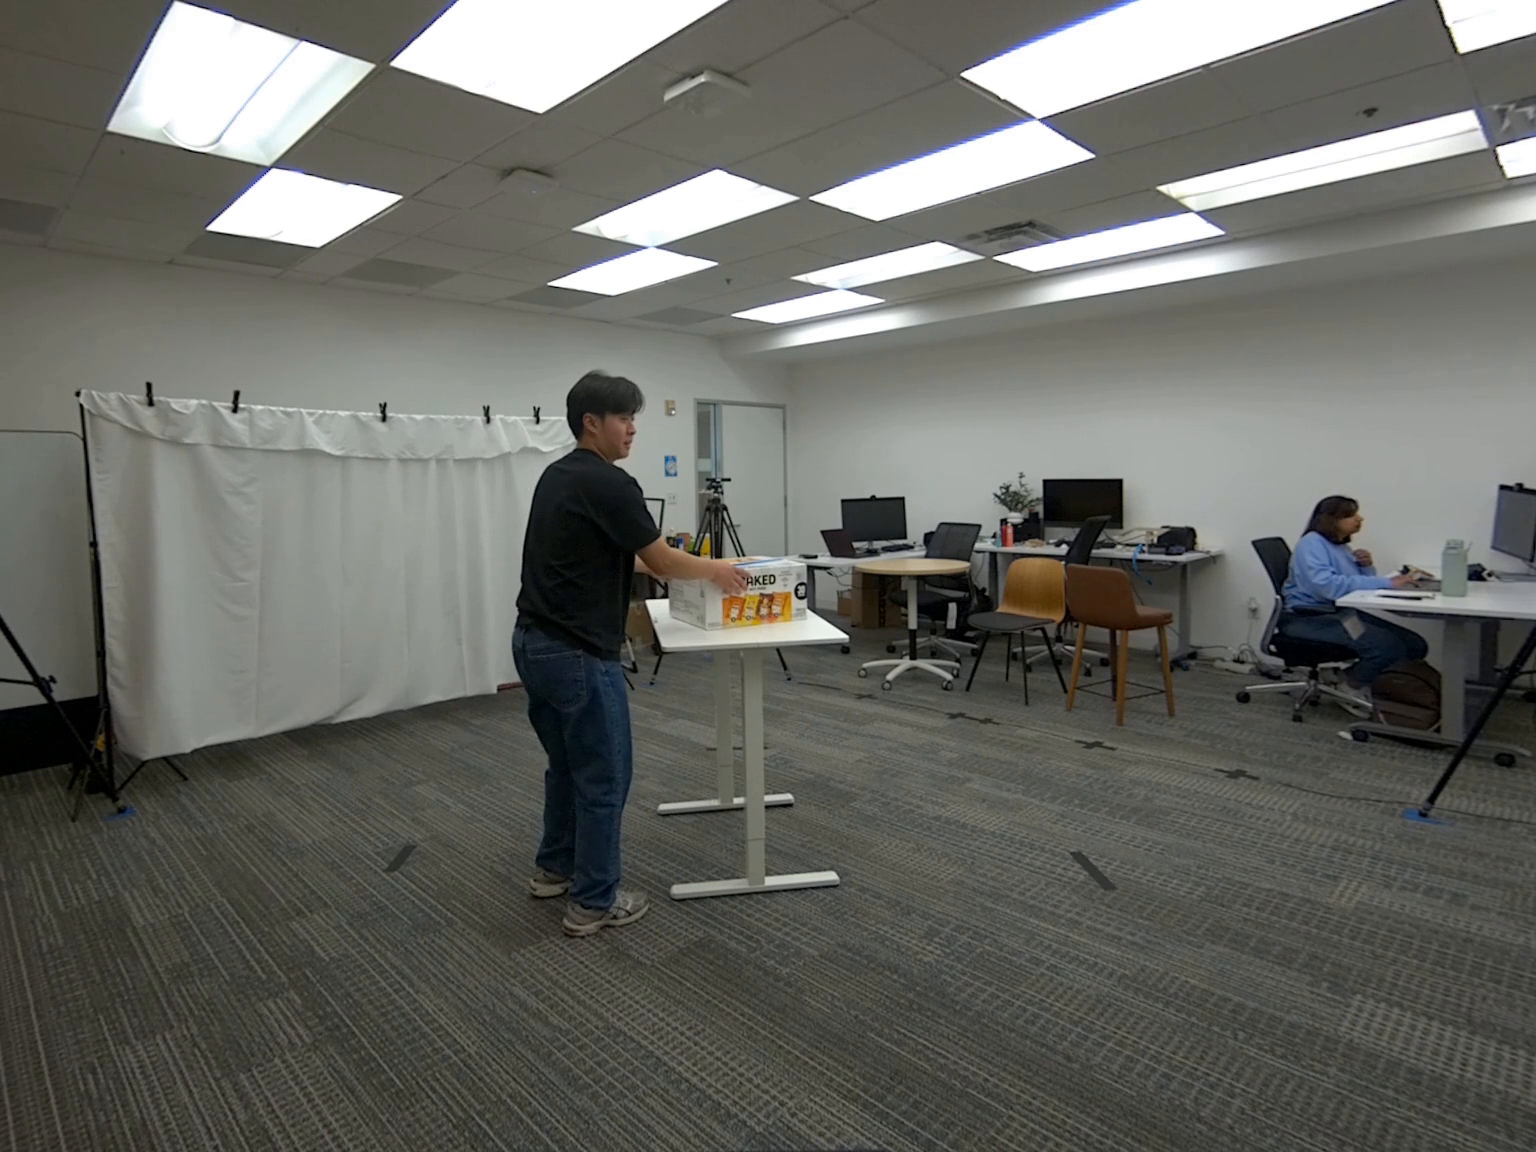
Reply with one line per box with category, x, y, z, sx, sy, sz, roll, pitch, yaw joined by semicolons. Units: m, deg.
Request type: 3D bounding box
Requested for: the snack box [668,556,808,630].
snack box;-0.114;0.054;3.141;0.396;0.204;0.349;-5;7;-27
